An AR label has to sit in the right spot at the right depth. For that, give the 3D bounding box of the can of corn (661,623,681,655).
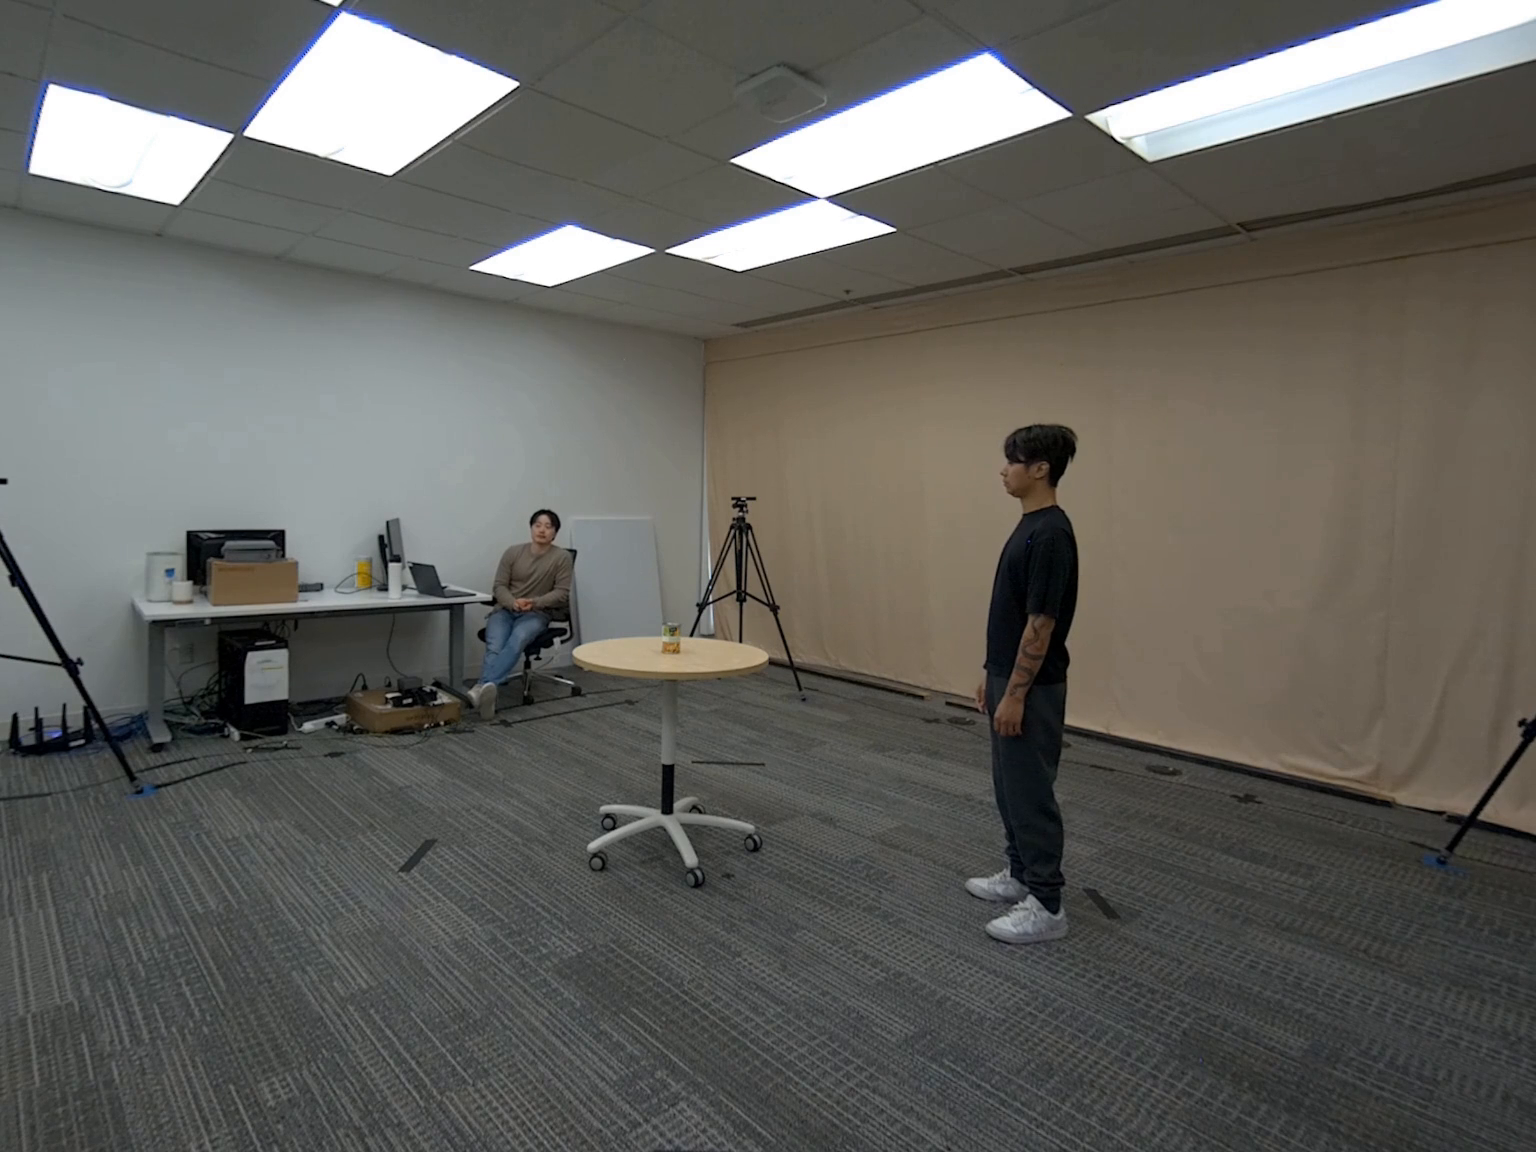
[{"bbox_3d":[-0.382,0.243,3.301,0.074,0.111,0.074,2,4,-1],"label":"can of corn"}]
